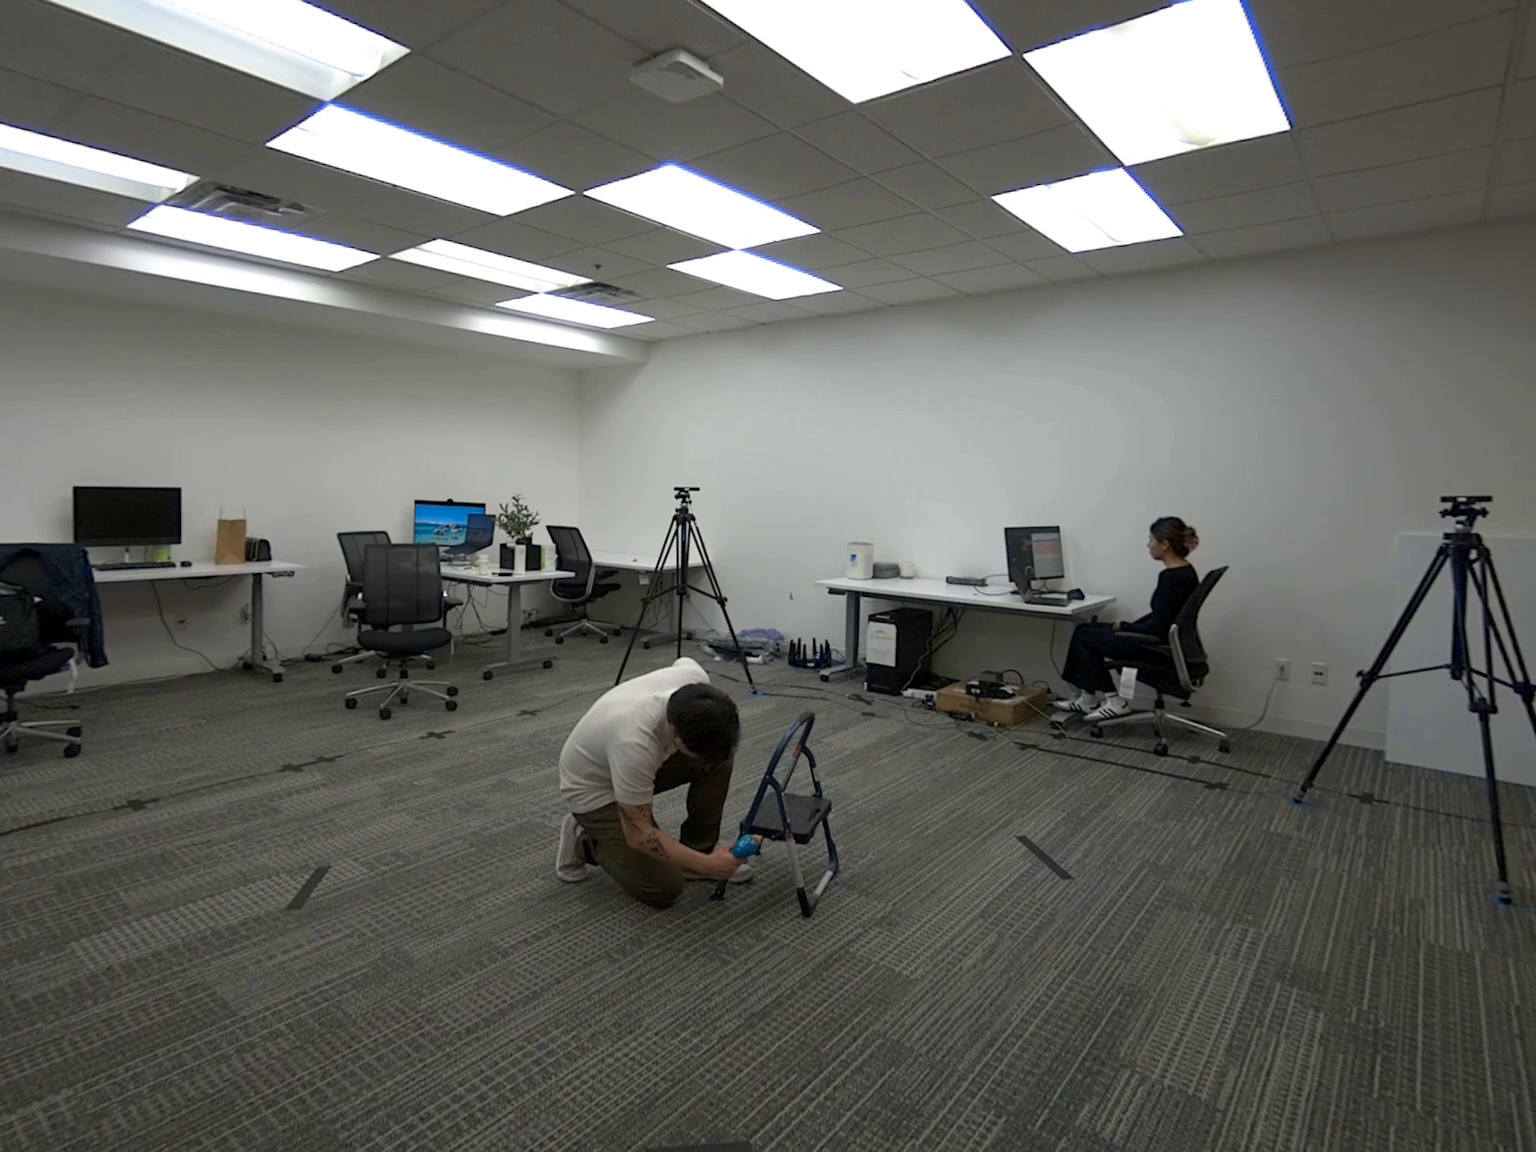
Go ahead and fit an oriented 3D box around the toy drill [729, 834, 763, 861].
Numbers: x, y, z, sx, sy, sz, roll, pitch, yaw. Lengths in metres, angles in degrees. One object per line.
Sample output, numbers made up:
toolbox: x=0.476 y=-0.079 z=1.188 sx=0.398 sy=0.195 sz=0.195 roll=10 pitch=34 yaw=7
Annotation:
toy drill: x=-0.104 y=0.869 z=2.695 sx=0.147 sy=0.062 sz=0.165 roll=-27 pitch=-11 yaw=22
